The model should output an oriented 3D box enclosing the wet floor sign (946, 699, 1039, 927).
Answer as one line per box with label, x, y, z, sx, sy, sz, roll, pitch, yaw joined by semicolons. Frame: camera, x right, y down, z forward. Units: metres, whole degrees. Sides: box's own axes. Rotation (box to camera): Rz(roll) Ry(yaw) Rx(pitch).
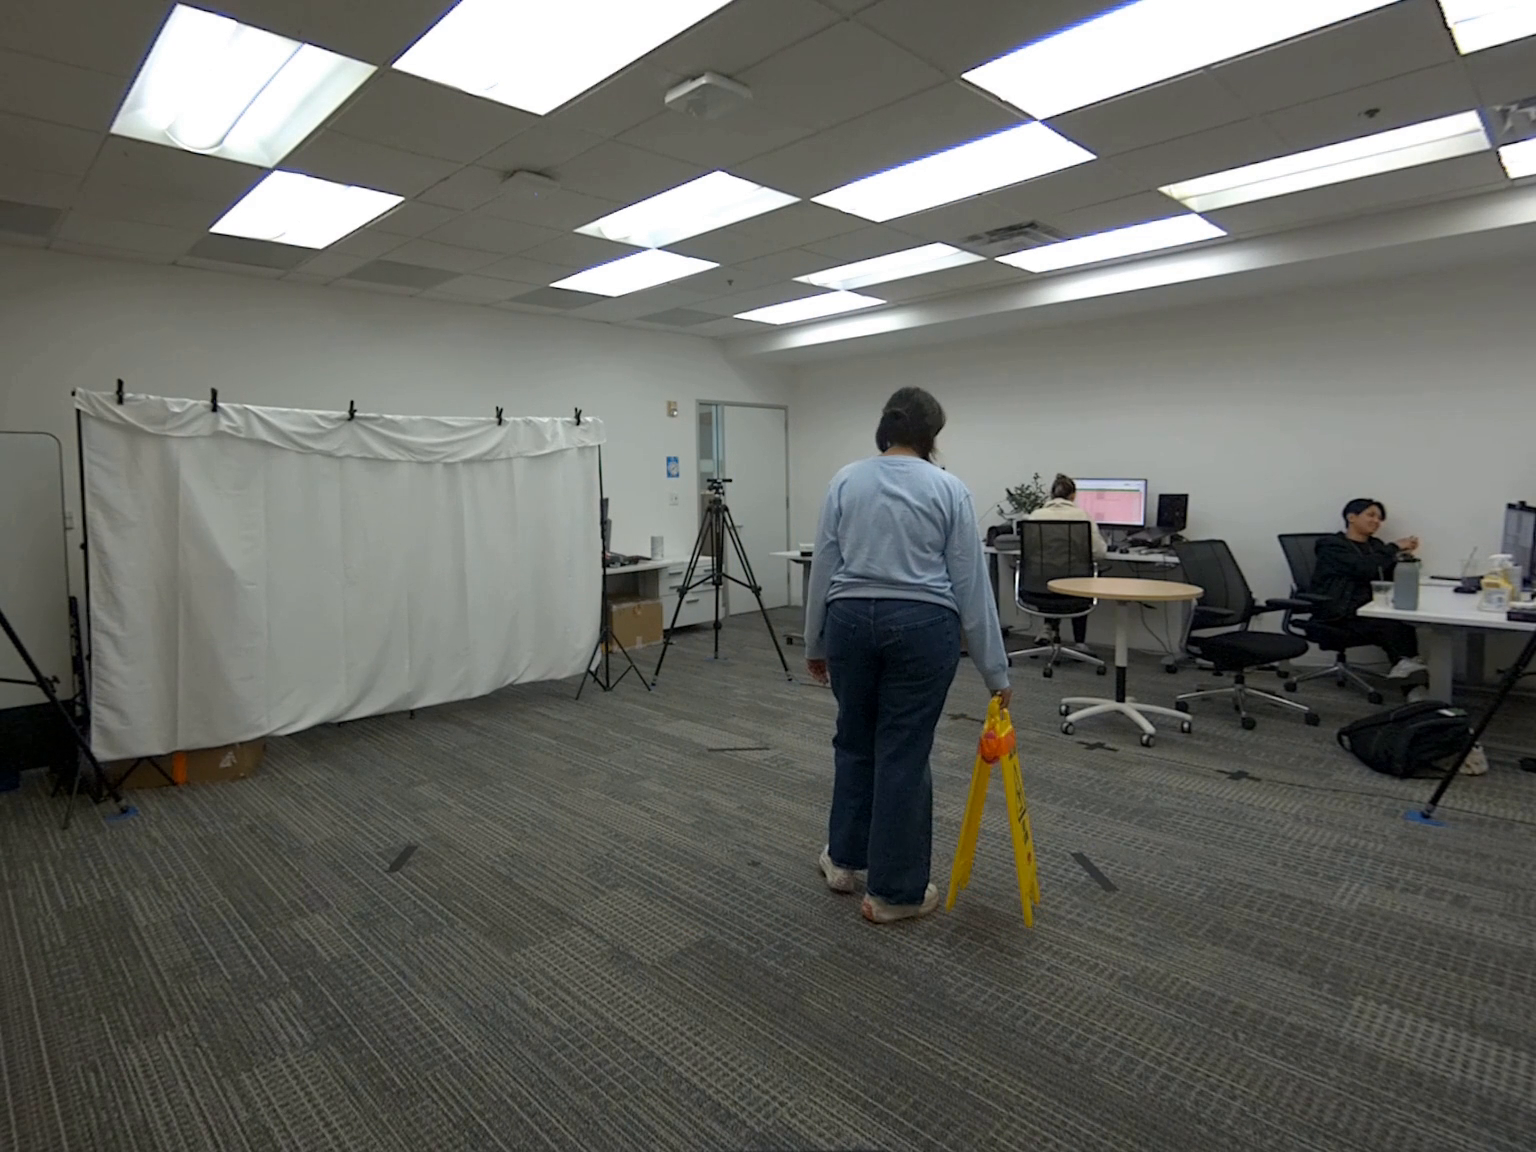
wet floor sign;0.715;0.696;2.672;0.296;0.646;0.275;1;0;25
